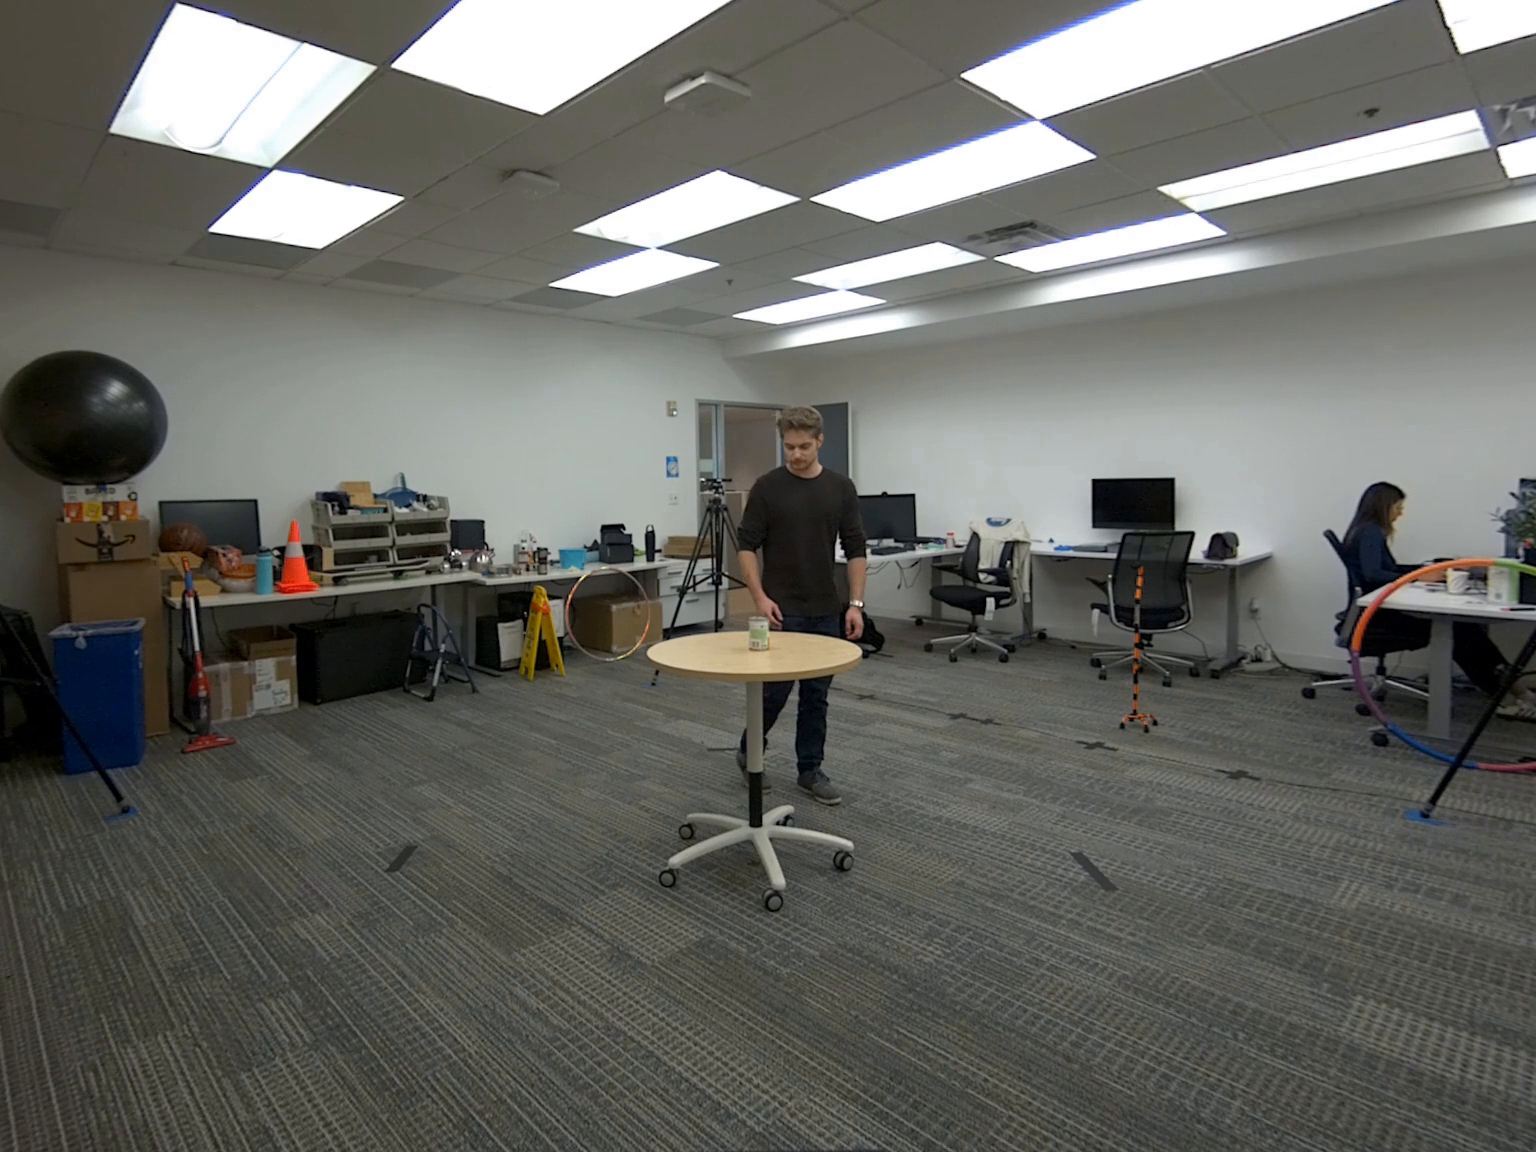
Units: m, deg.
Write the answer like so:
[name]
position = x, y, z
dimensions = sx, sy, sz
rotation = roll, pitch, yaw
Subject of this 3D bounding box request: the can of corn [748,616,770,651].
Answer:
[can of corn]
position = -0.032, 0.210, 3.063
dimensions = 0.074, 0.111, 0.074
rotation = -1, 4, -2
